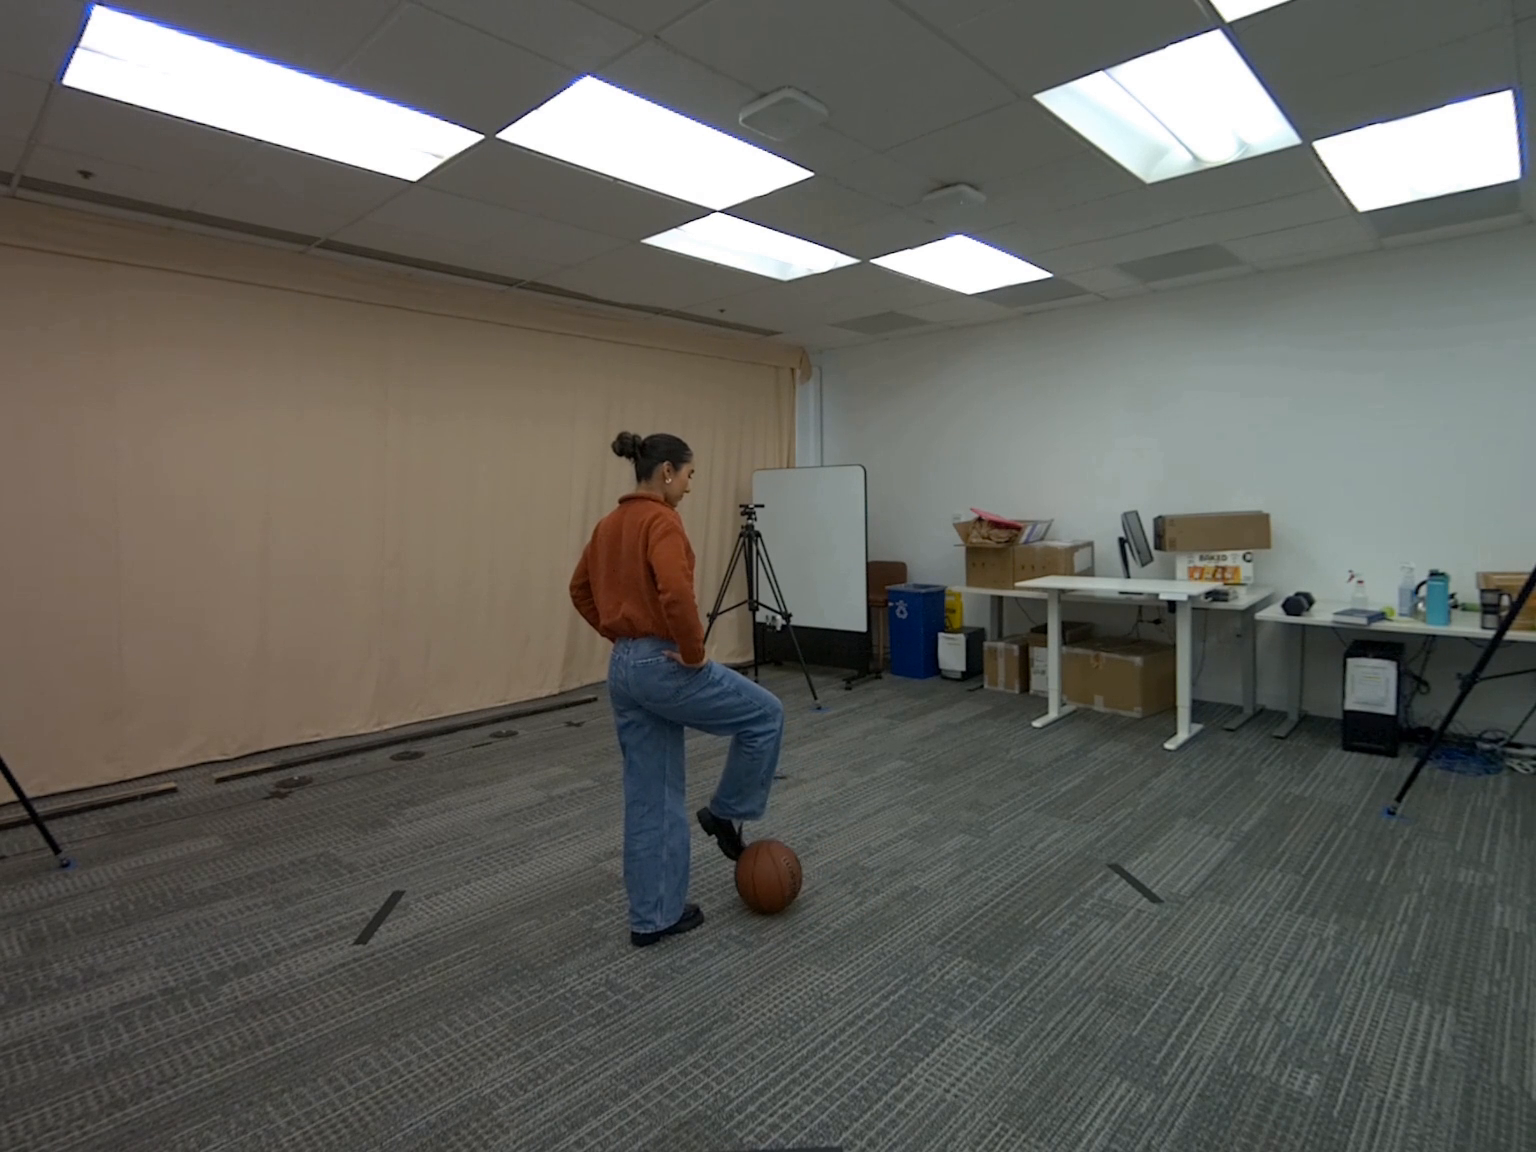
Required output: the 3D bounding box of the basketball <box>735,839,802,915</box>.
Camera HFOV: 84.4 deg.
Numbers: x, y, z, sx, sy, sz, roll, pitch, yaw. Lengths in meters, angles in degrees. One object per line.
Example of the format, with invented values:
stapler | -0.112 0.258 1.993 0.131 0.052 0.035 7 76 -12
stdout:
basketball | 0.017 1.027 2.889 0.236 0.235 0.237 -1 4 -2
